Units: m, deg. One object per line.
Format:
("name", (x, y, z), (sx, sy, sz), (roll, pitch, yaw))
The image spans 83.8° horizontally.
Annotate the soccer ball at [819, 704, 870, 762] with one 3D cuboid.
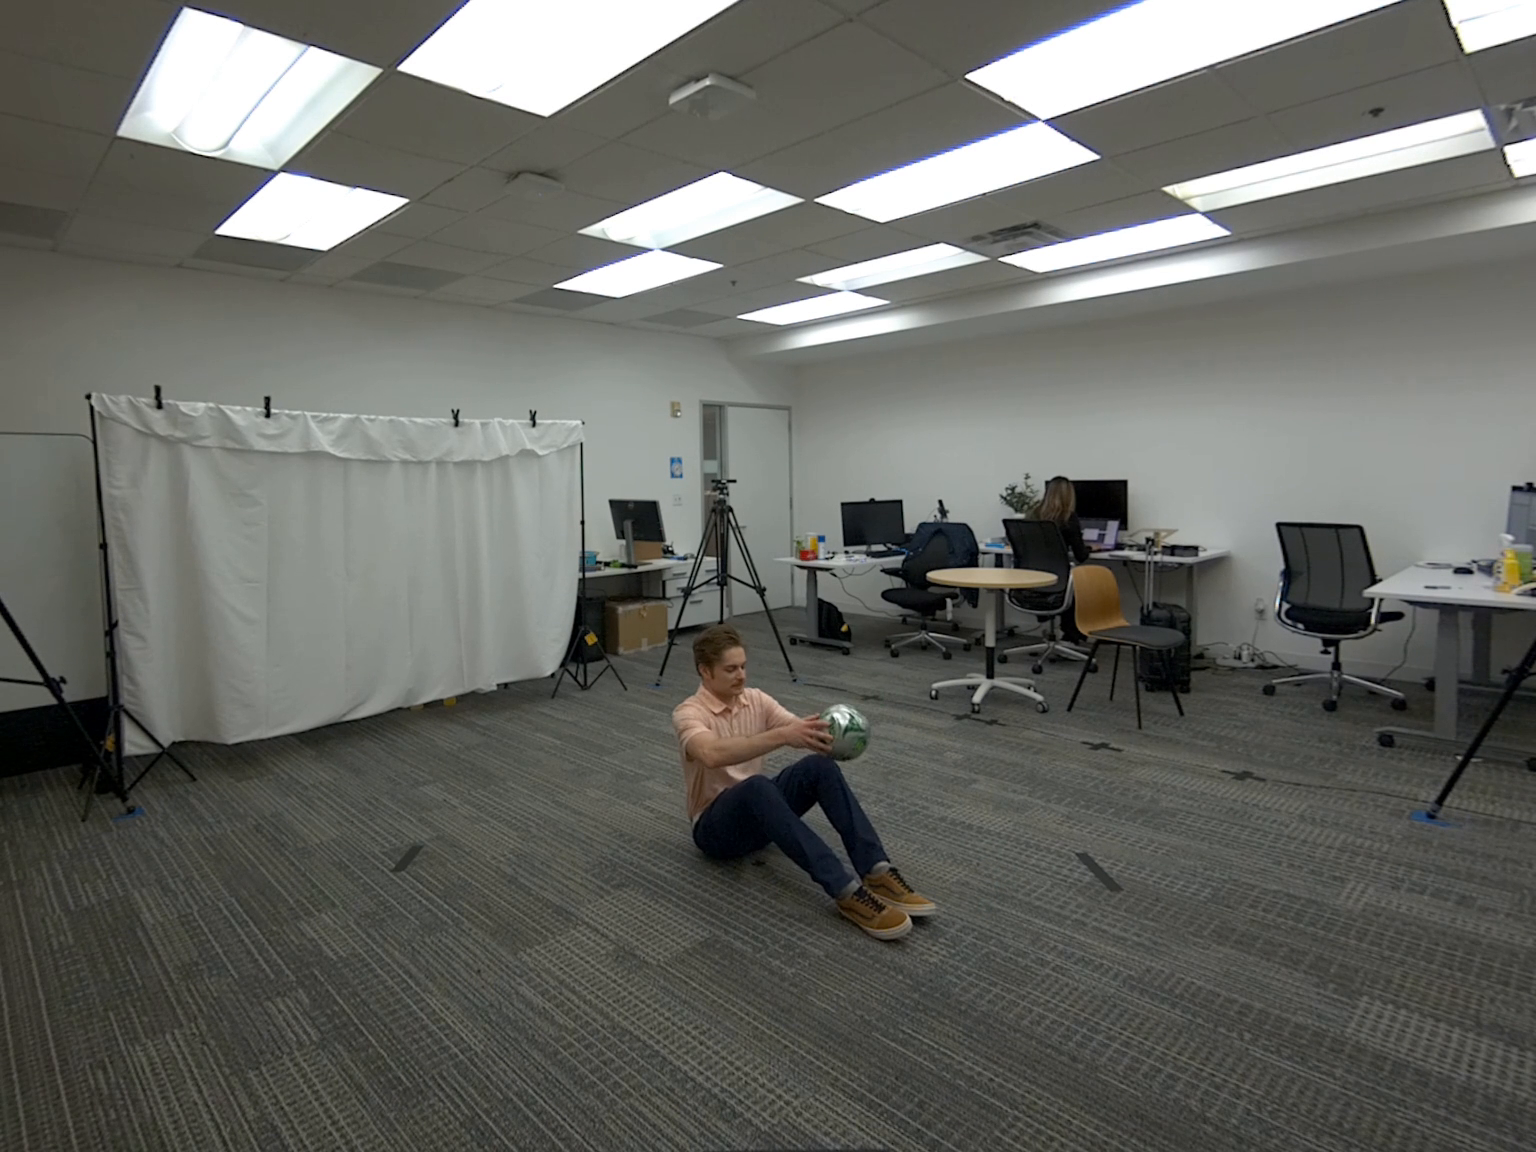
("soccer ball", (0.268, 0.528, 2.860), (0.187, 0.187, 0.188), (-1, 5, -2))
